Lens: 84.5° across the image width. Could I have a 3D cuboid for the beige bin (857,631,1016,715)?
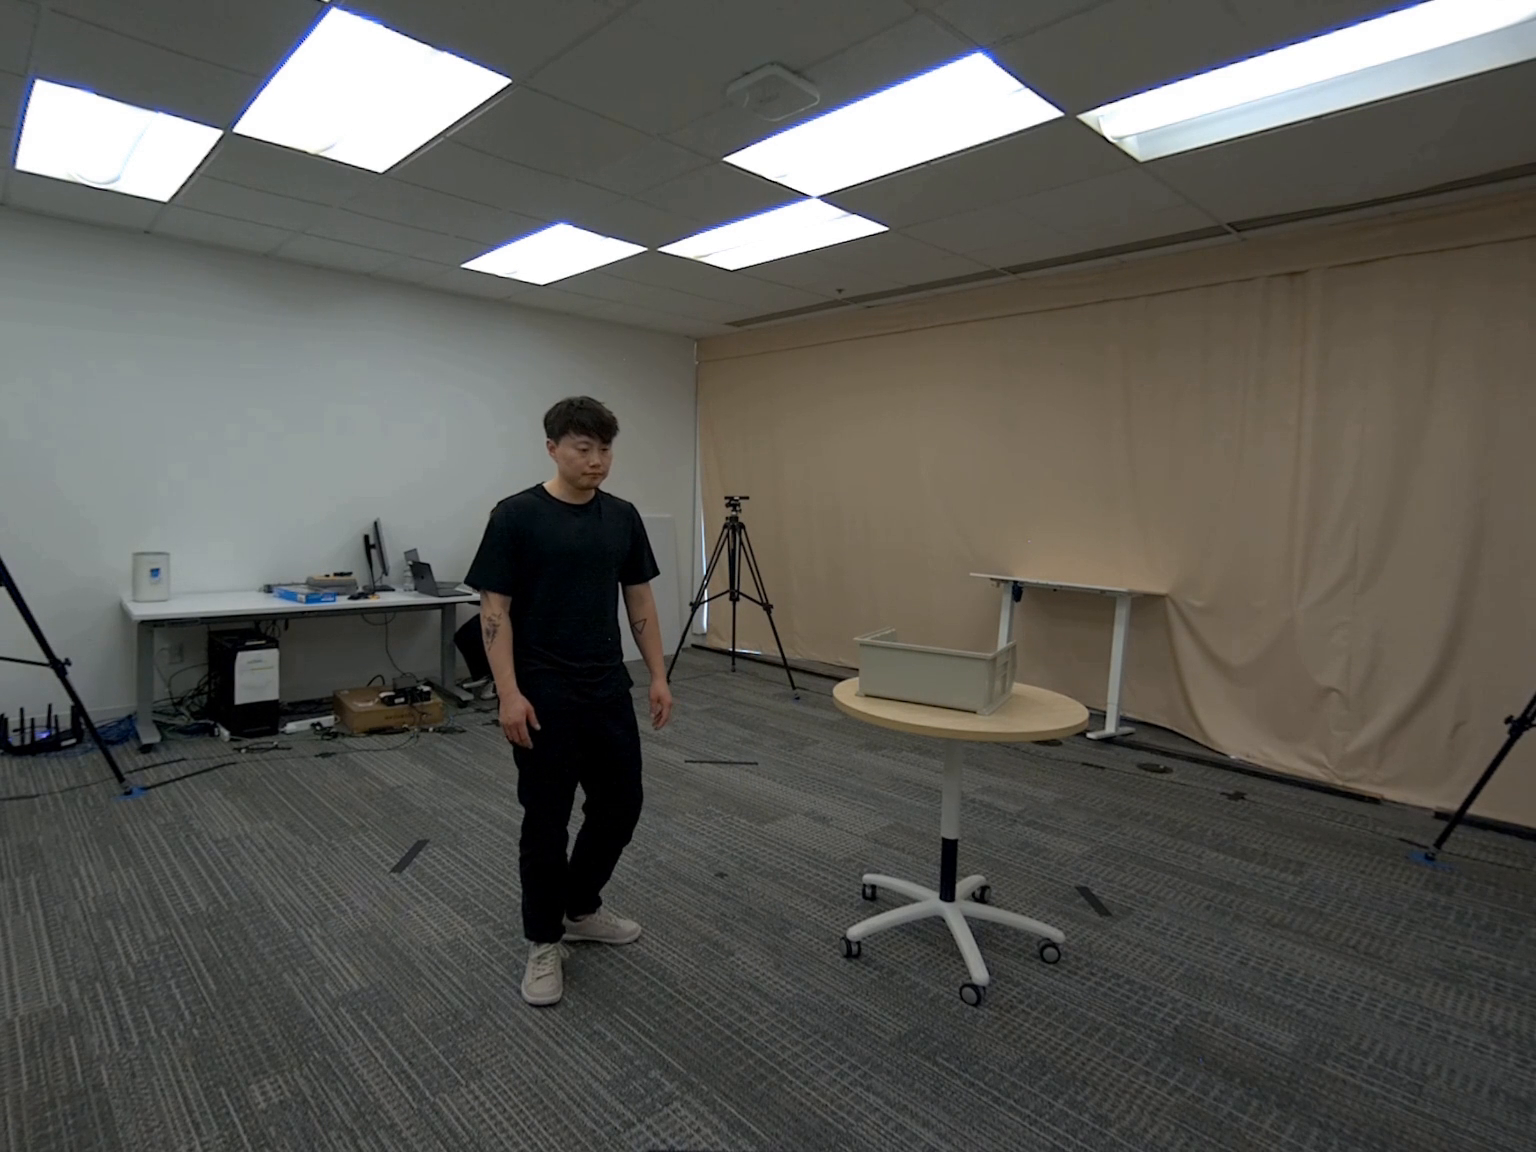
[{"bbox_3d":[0.532,0.288,2.661,0.431,0.188,0.370,5,7,29],"label":"beige bin"}]
